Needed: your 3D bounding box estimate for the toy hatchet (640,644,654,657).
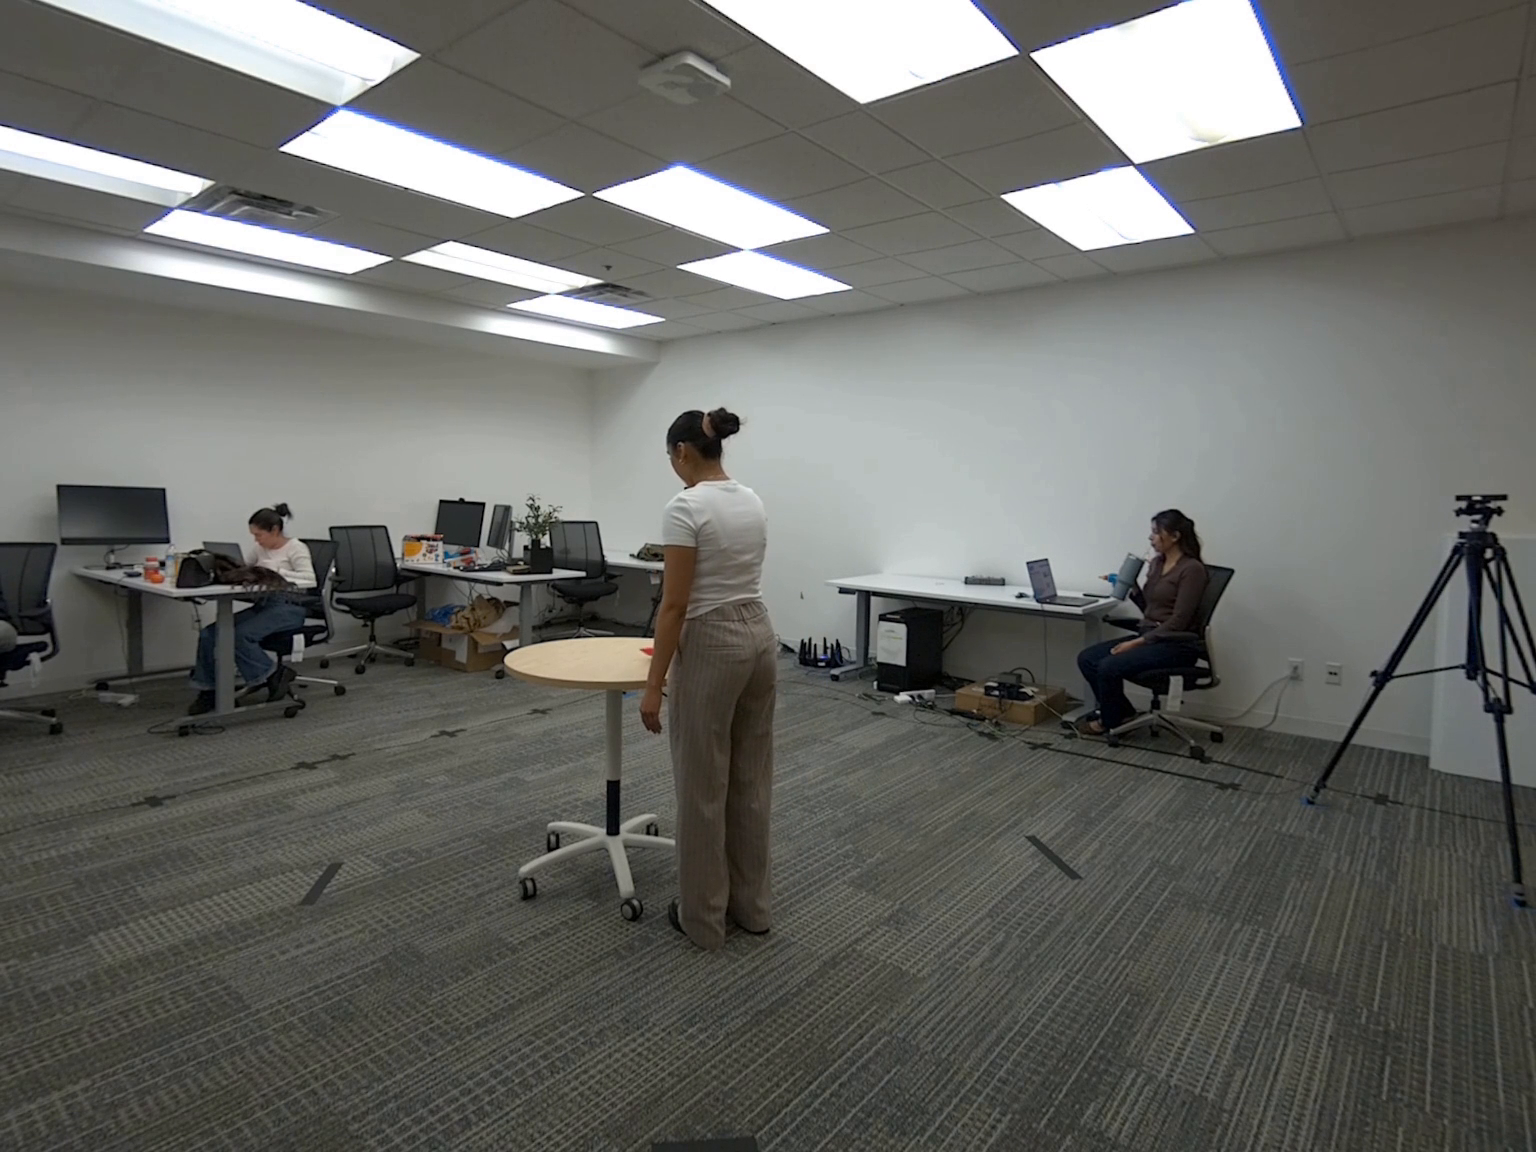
[{"bbox_3d":[-0.312,0.273,2.939,0.279,0.030,0.126,8,-7,35],"label":"toy hatchet"}]
